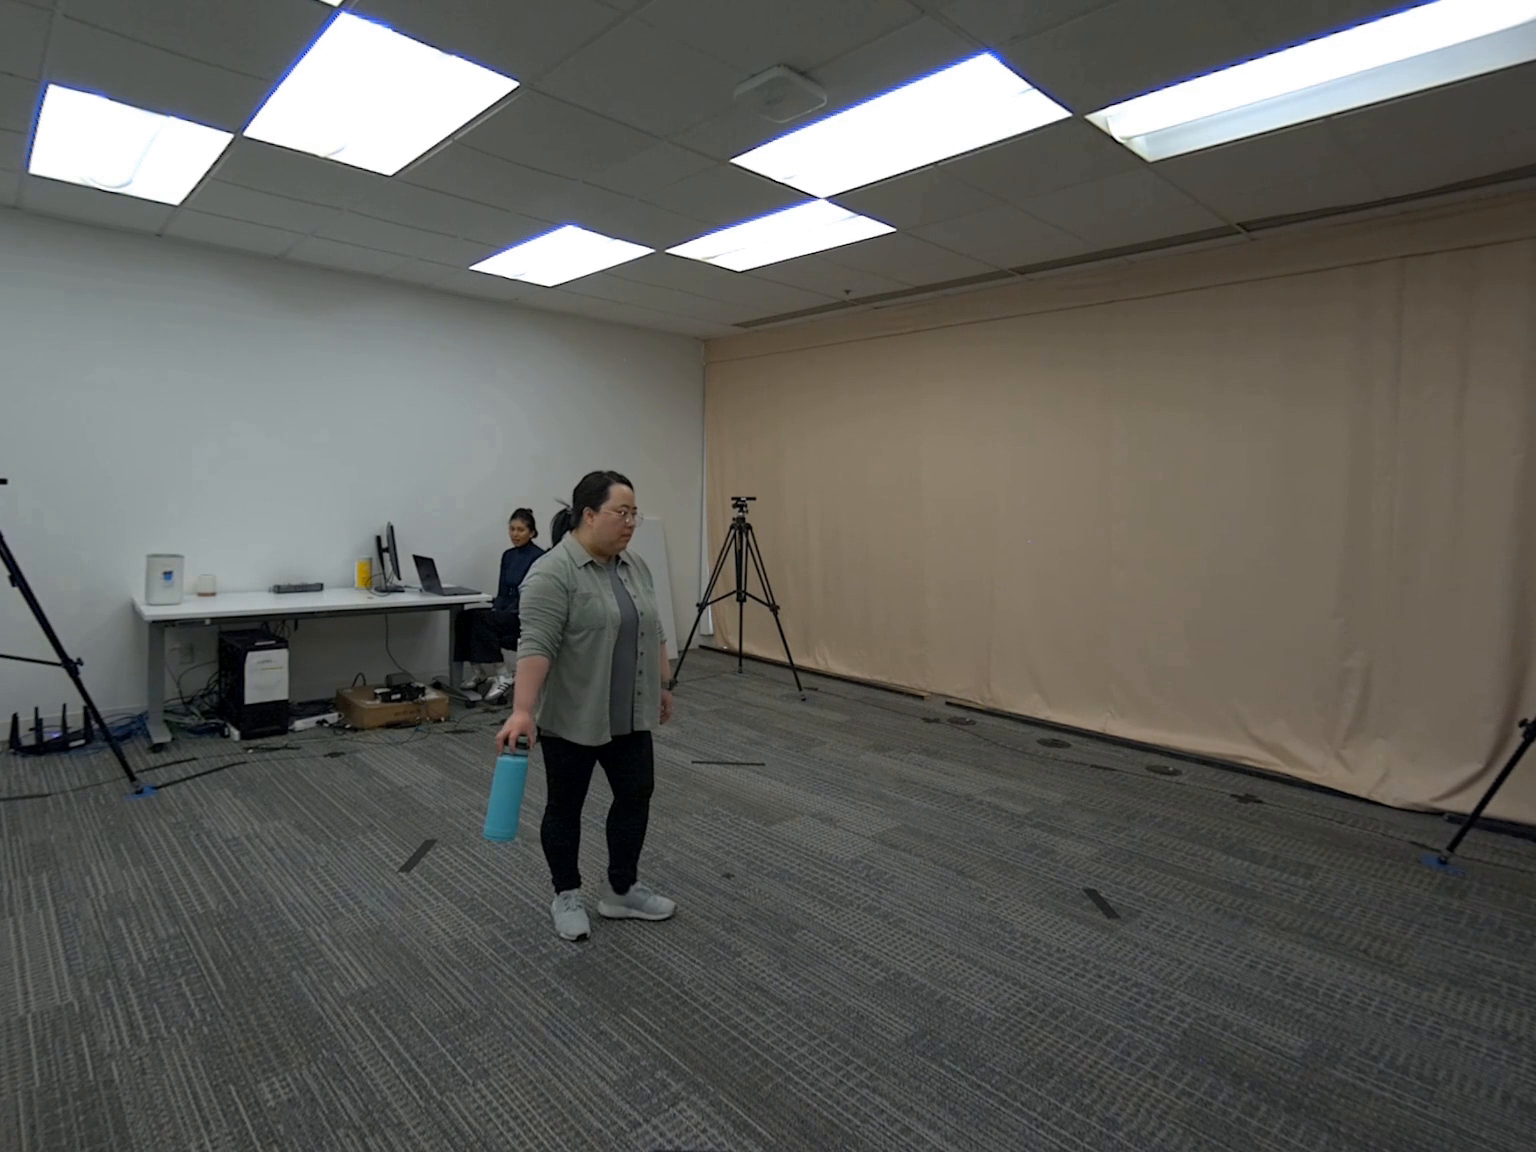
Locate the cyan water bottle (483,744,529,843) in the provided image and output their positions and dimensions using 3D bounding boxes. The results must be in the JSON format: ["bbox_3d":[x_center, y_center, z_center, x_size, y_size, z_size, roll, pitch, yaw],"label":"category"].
[{"bbox_3d":[-0.742,0.595,2.362,0.092,0.285,0.092,7,-9,0],"label":"cyan water bottle"}]
